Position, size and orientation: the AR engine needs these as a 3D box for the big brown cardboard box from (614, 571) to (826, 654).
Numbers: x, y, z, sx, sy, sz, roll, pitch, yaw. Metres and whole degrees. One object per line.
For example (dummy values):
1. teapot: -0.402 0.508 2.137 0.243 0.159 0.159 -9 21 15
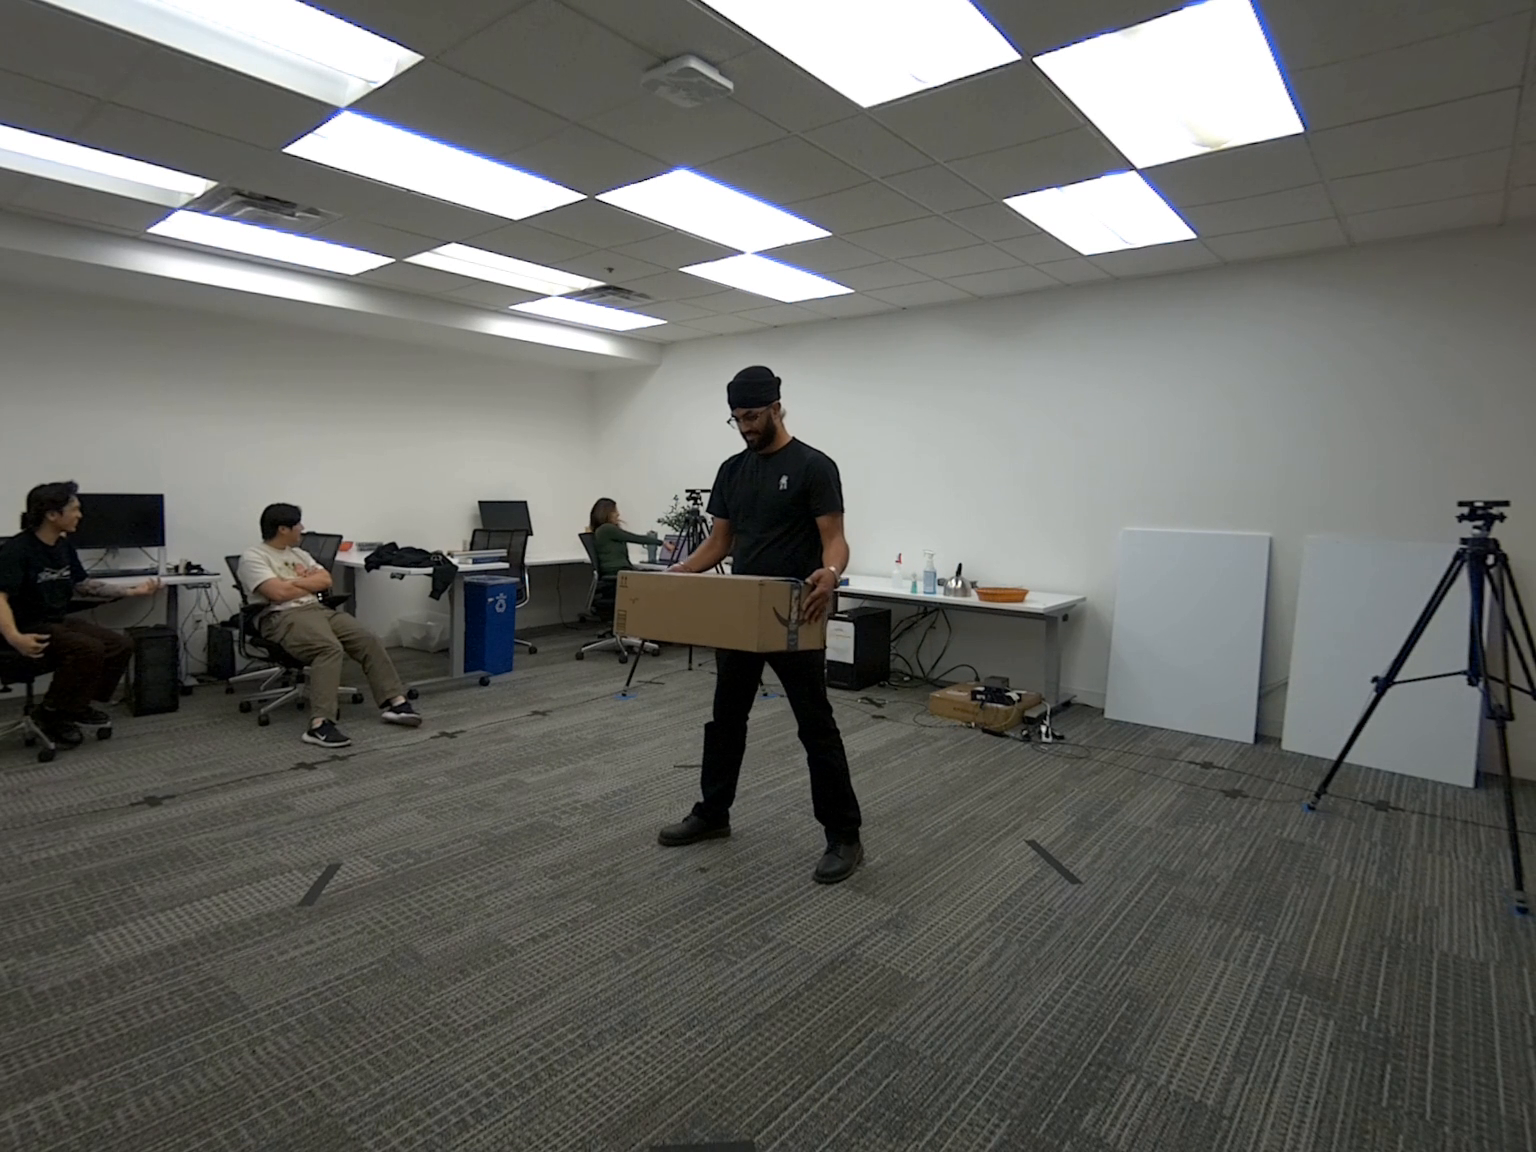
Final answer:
1. big brown cardboard box: -0.163 0.105 2.823 0.607 0.234 0.404 3 -2 33
